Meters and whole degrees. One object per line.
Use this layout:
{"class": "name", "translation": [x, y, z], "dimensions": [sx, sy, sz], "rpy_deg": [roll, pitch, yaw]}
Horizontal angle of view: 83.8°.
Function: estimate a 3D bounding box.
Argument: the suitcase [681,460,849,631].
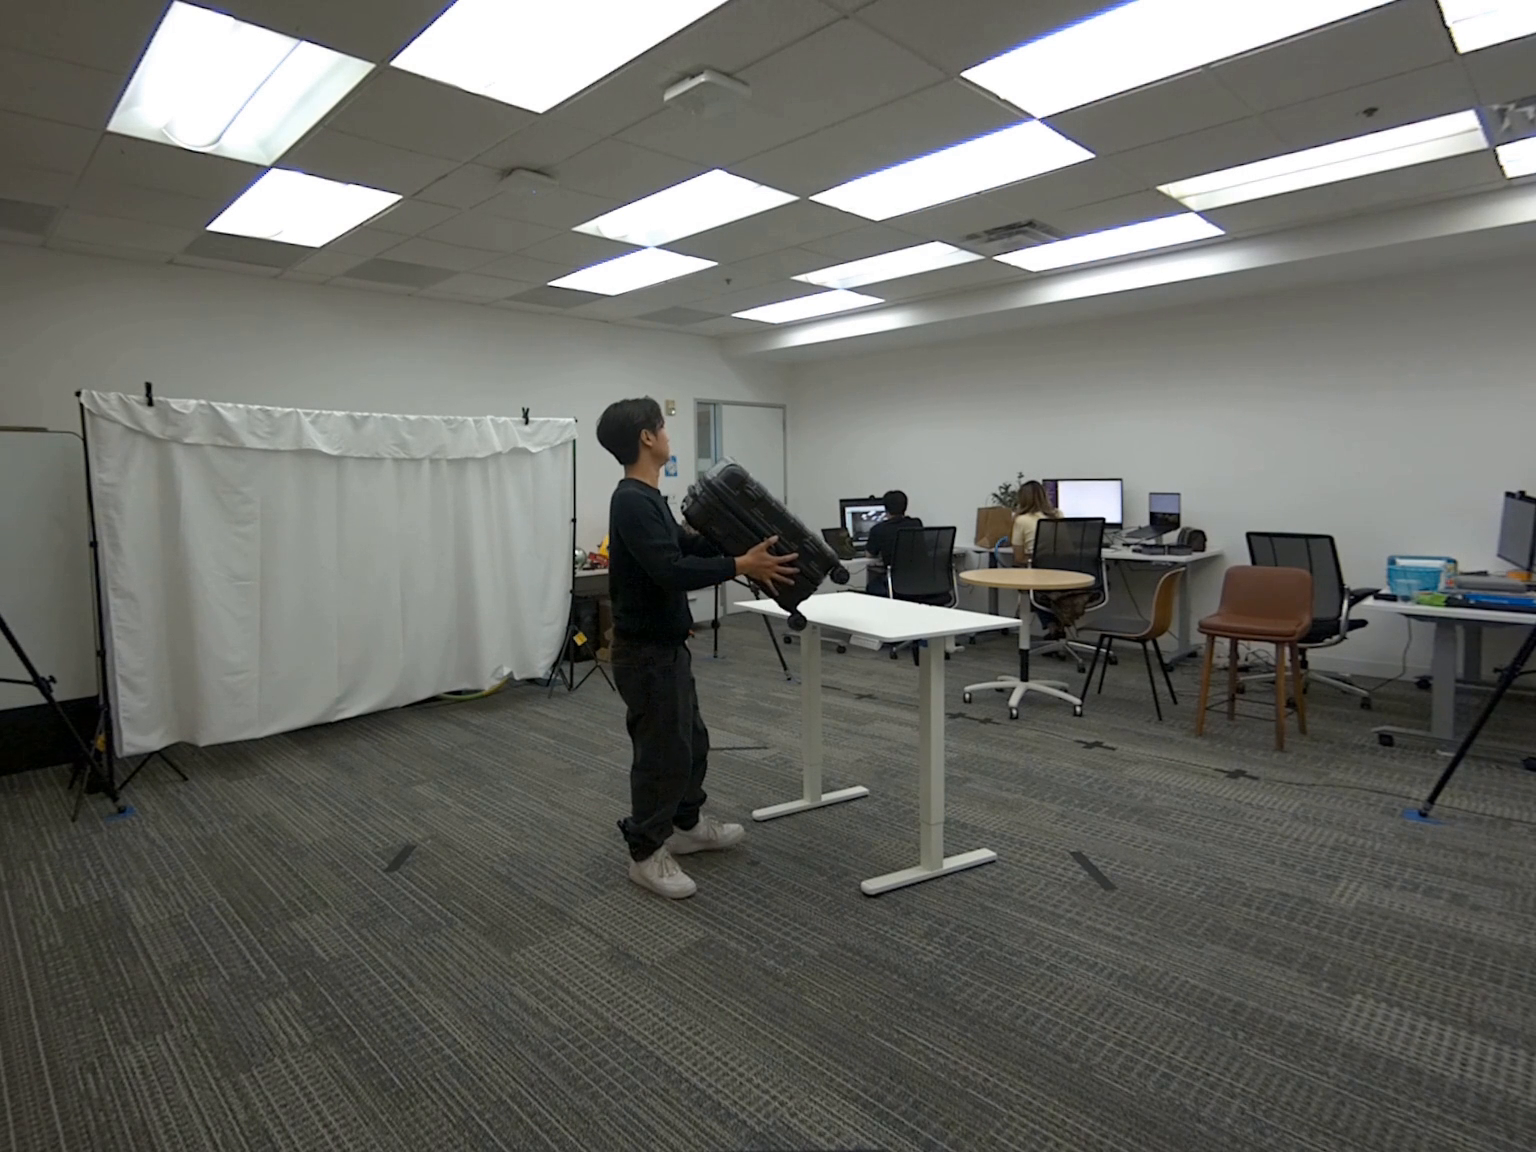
{"class": "suitcase", "translation": [-0.032, -0.136, 2.832], "dimensions": [0.542, 0.248, 0.381], "rpy_deg": [43, 4, -11]}
